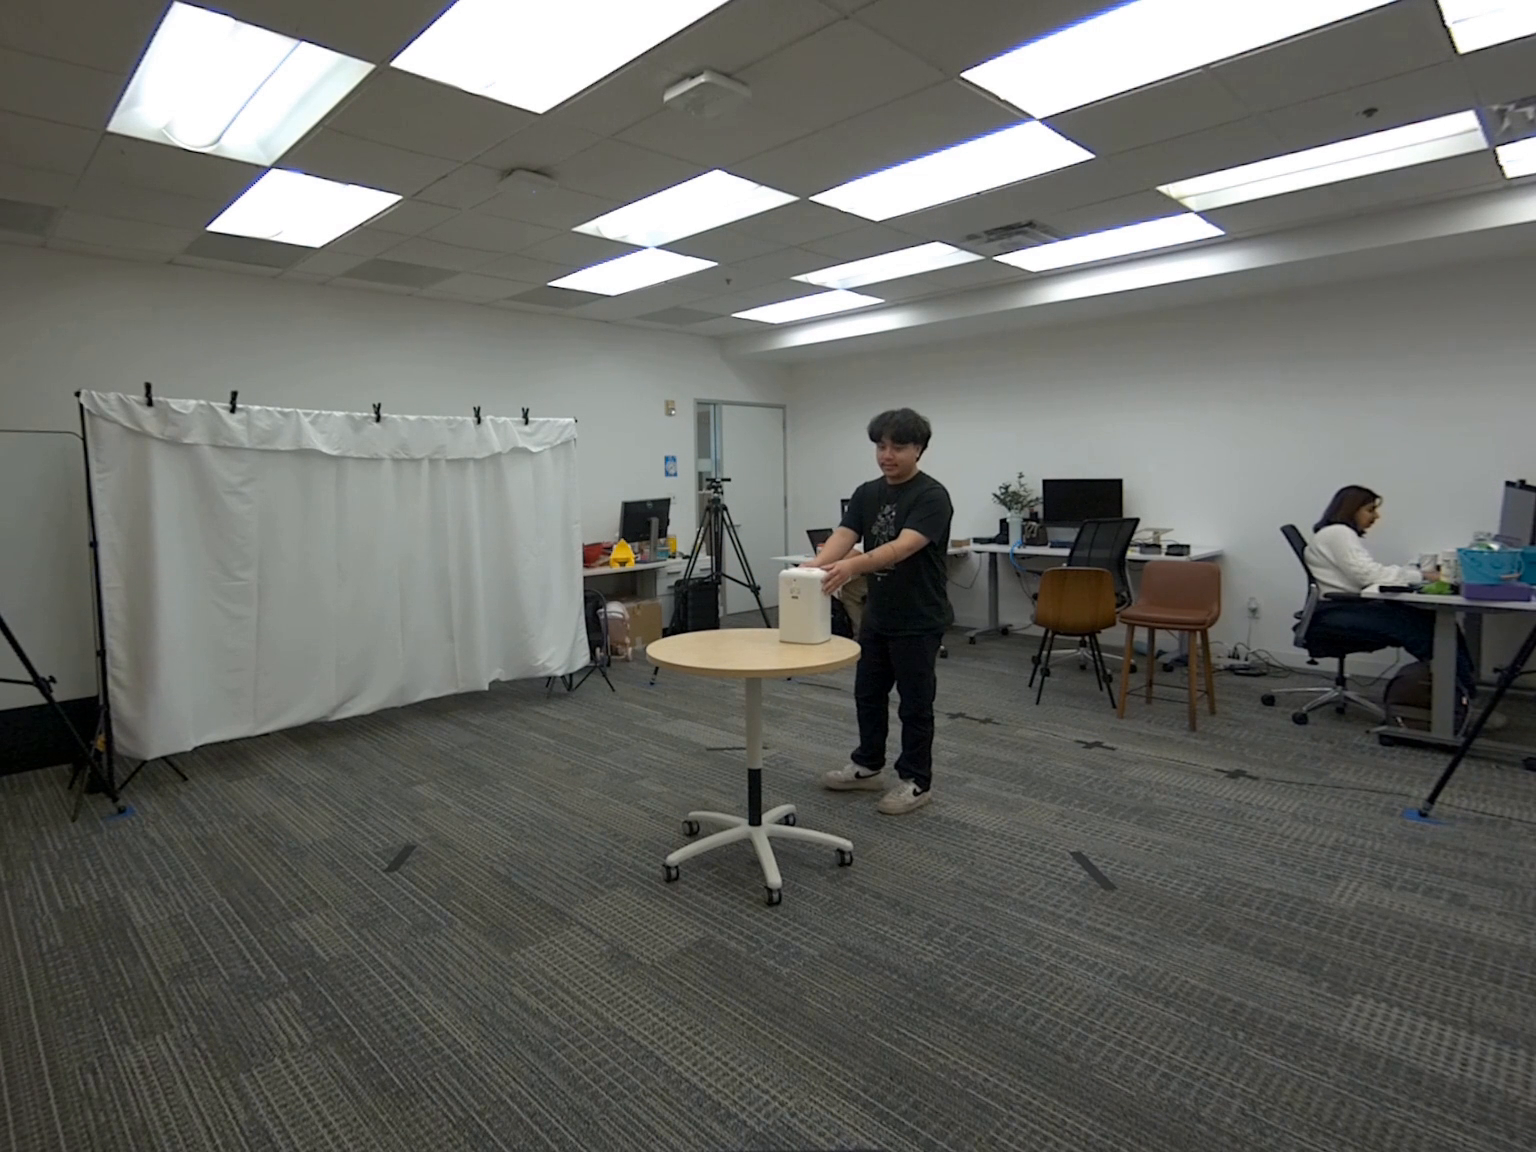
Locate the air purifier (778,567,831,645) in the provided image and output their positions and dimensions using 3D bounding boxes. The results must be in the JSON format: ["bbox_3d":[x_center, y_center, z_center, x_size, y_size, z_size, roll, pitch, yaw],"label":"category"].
[{"bbox_3d":[0.139,0.107,3.174,0.175,0.265,0.167,2,4,30],"label":"air purifier"}]
